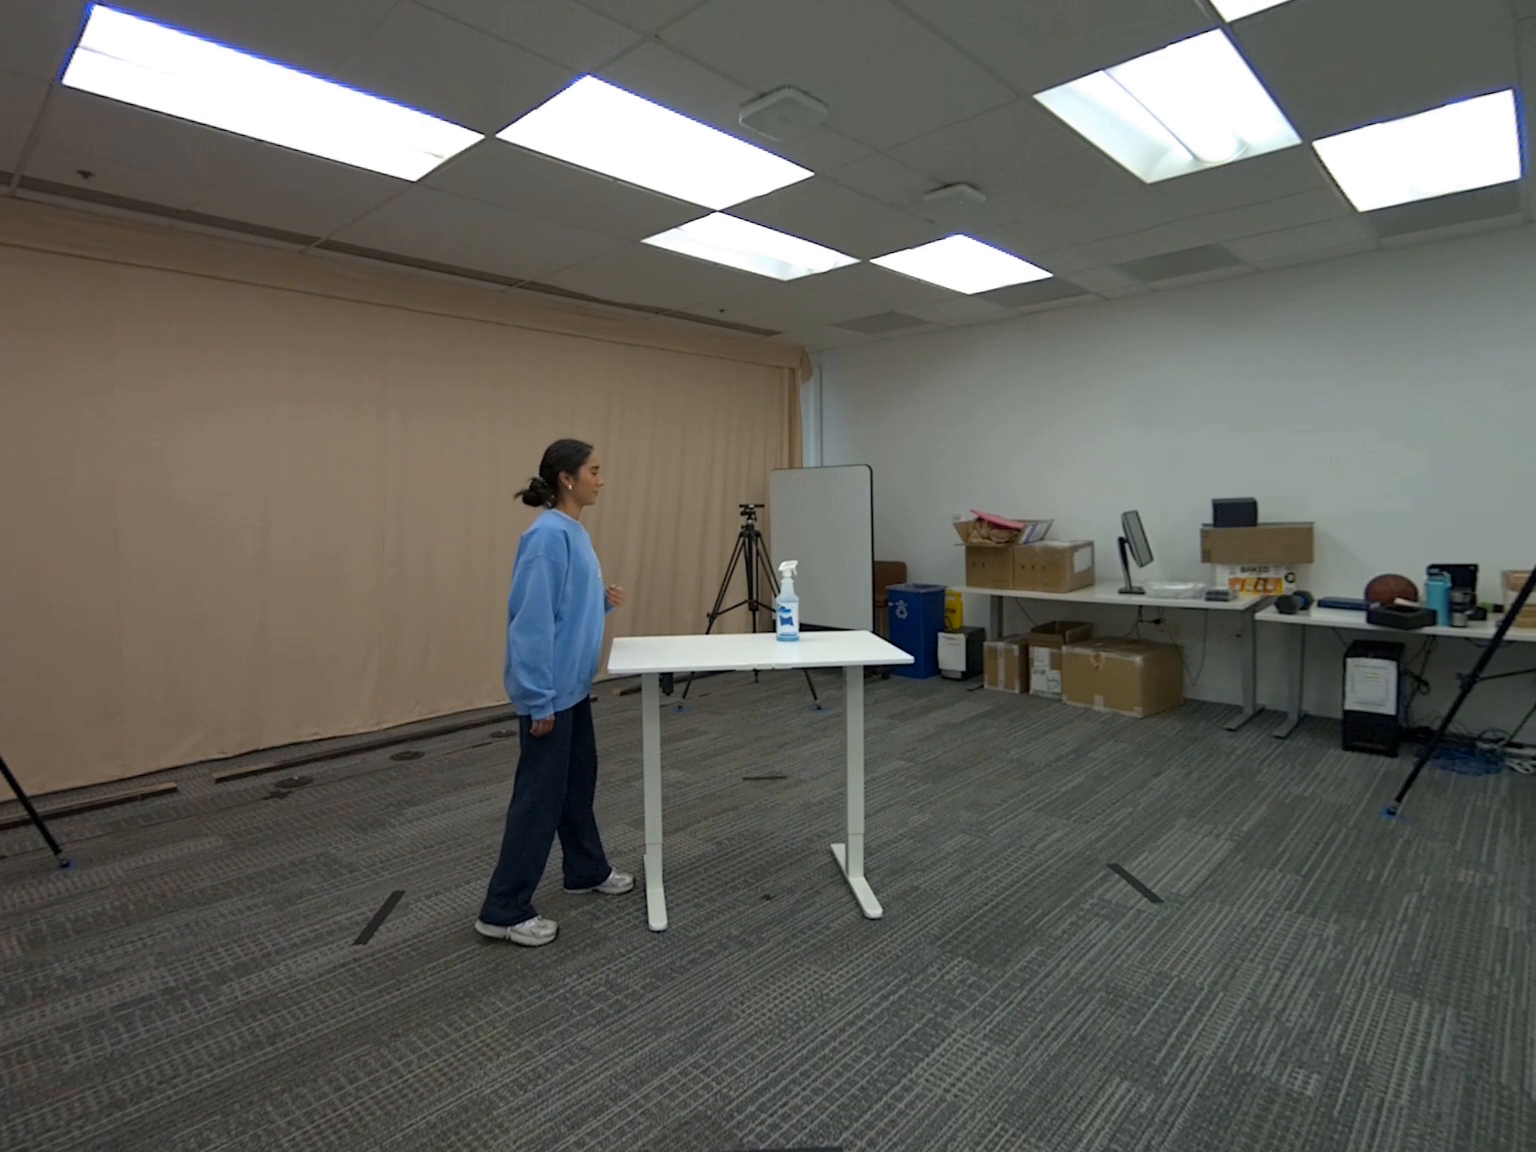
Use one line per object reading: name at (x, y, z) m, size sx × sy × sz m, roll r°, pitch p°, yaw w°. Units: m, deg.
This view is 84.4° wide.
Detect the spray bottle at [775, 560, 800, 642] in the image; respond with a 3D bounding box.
spray bottle at (0.077, 0.096, 3.154) m, size 0.089 × 0.296 × 0.088 m, roll -1°, pitch 4°, yaw -15°
